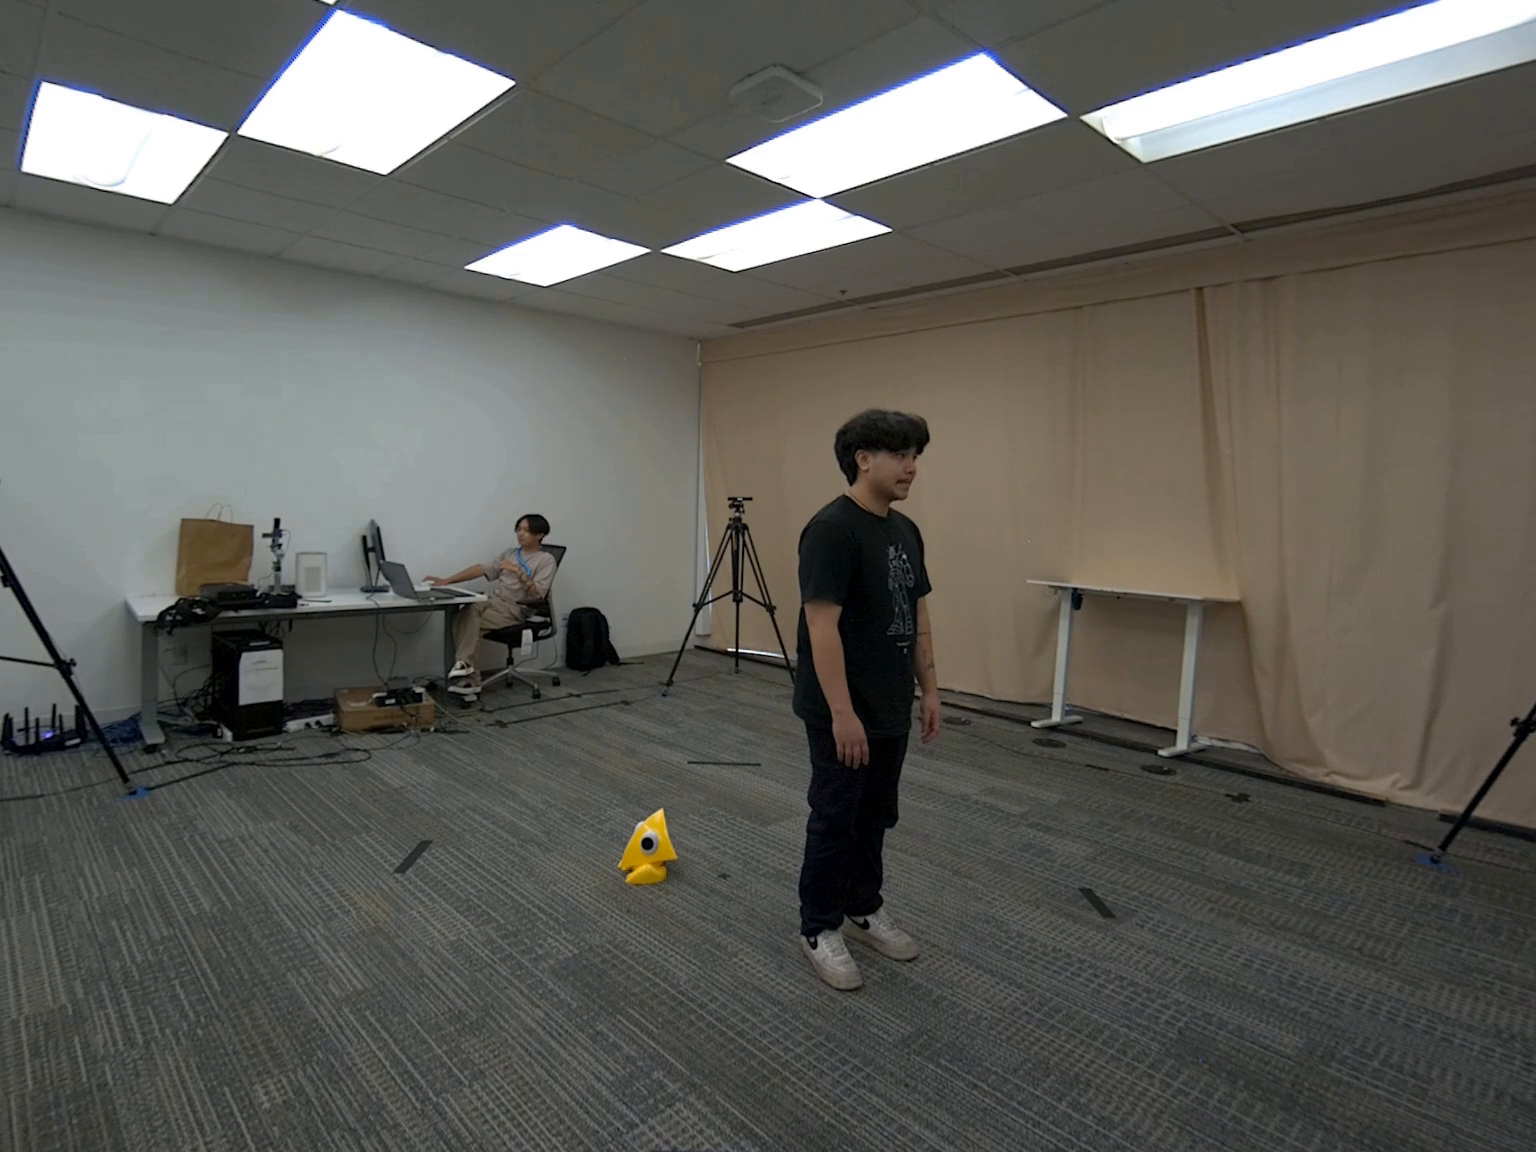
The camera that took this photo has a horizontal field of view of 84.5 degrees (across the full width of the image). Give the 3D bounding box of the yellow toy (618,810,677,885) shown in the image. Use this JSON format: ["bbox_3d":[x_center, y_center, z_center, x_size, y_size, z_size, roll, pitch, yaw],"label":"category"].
[{"bbox_3d":[-0.462,0.986,3.123,0.190,0.230,0.209,0,4,-22],"label":"yellow toy"}]
